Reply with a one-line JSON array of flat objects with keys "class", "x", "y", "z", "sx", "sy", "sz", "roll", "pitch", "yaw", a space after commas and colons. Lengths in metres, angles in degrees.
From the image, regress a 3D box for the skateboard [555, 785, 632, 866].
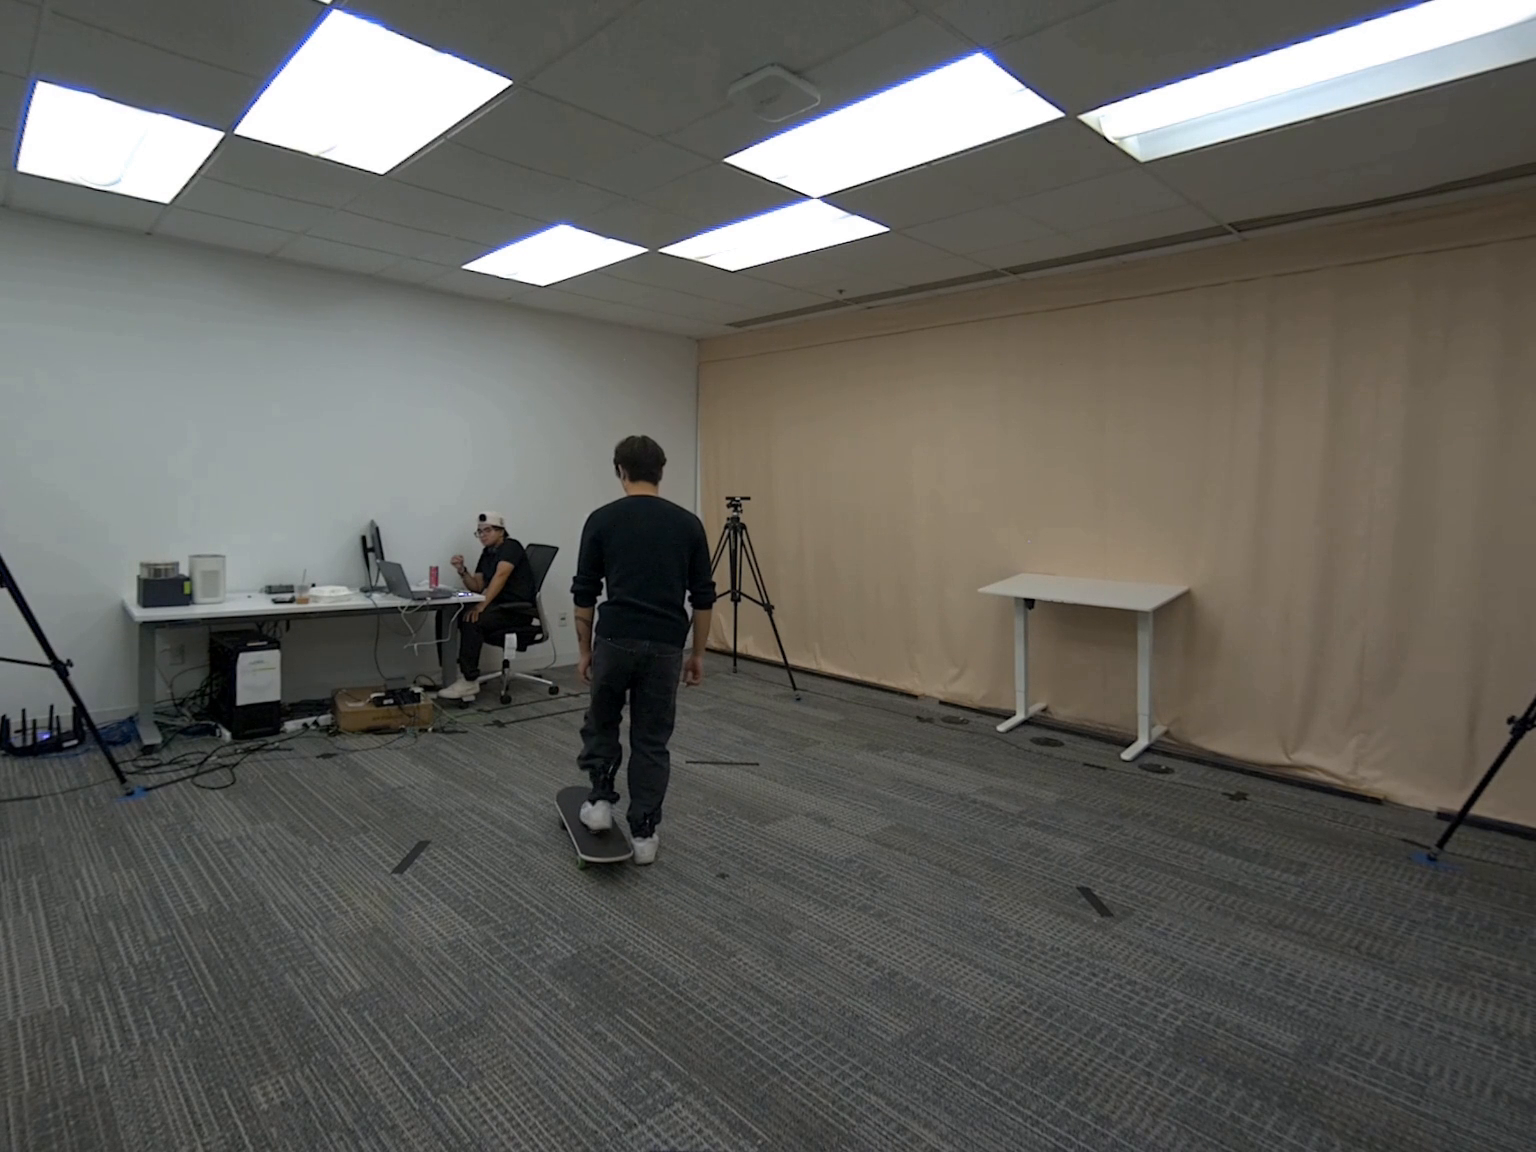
[{"class": "skateboard", "x": -0.715, "y": 1.016, "z": 3.352, "sx": 0.190, "sy": 0.110, "sz": 0.800, "roll": 0, "pitch": 6, "yaw": -22}]
